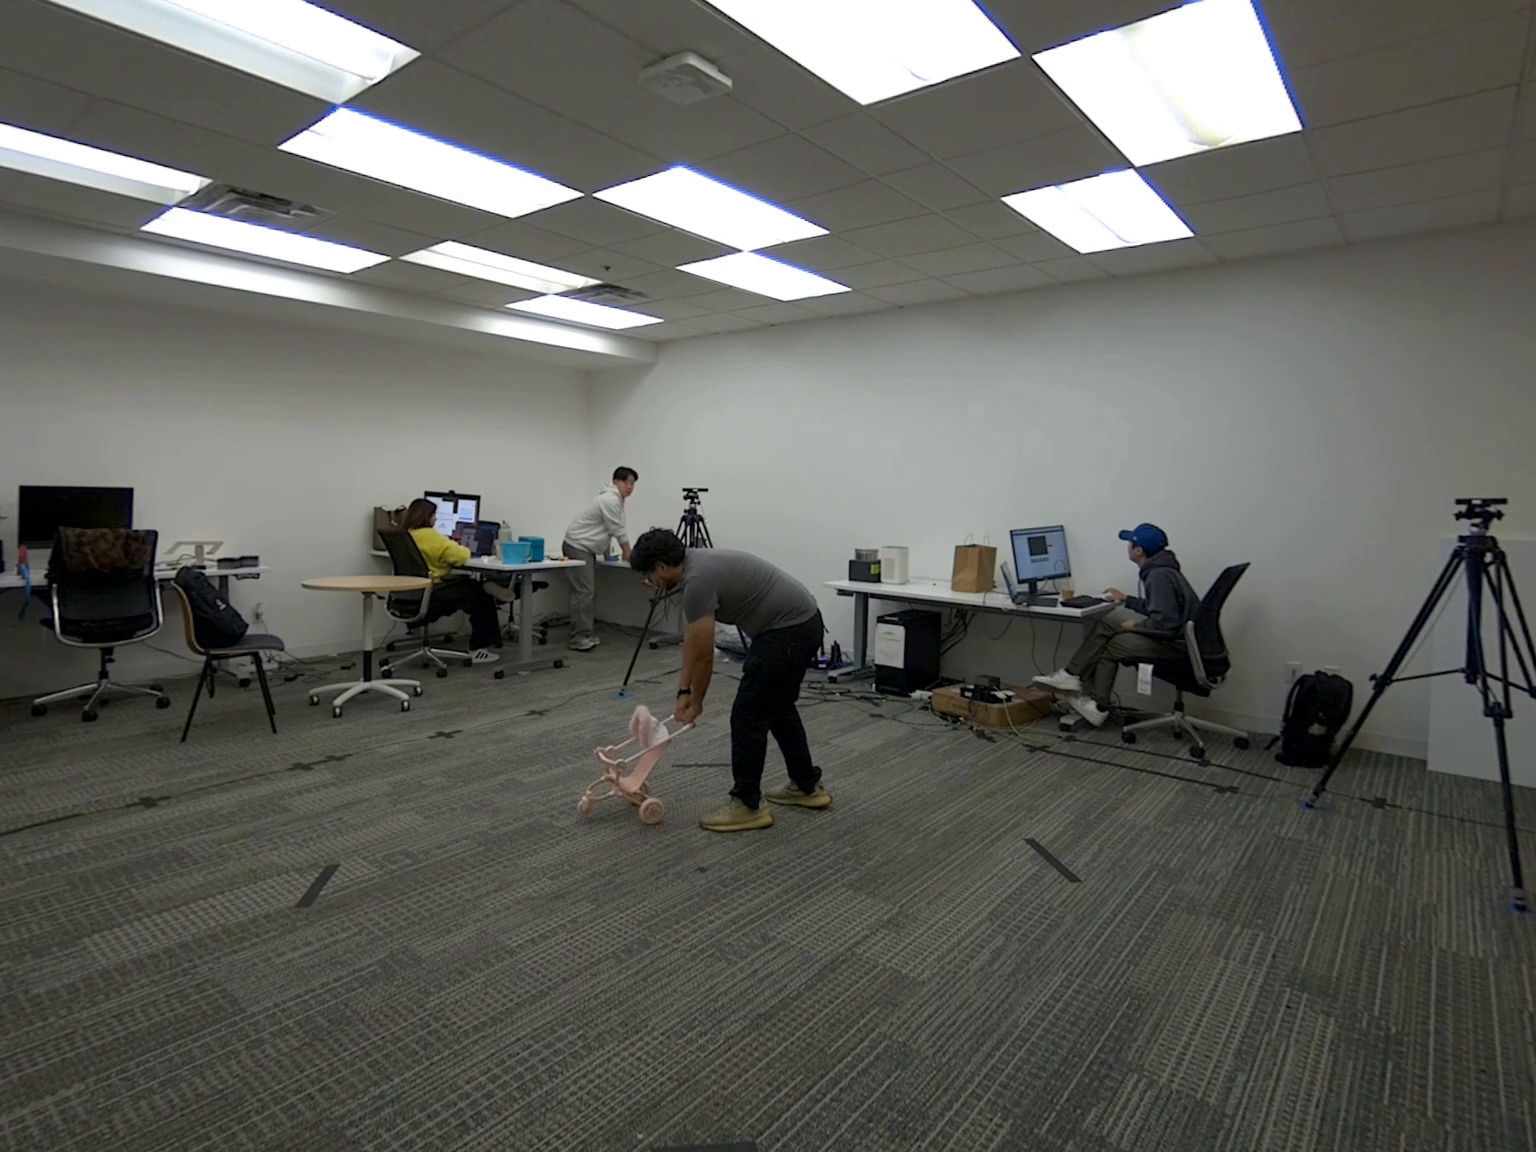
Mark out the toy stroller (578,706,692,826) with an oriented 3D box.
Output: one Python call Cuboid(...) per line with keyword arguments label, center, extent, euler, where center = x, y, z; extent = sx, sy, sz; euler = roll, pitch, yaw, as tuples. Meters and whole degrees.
Cuboid(label="toy stroller", center=(-0.585, 0.787, 3.613), extent=(0.335, 0.536, 0.287), euler=(22, -3, -16))
